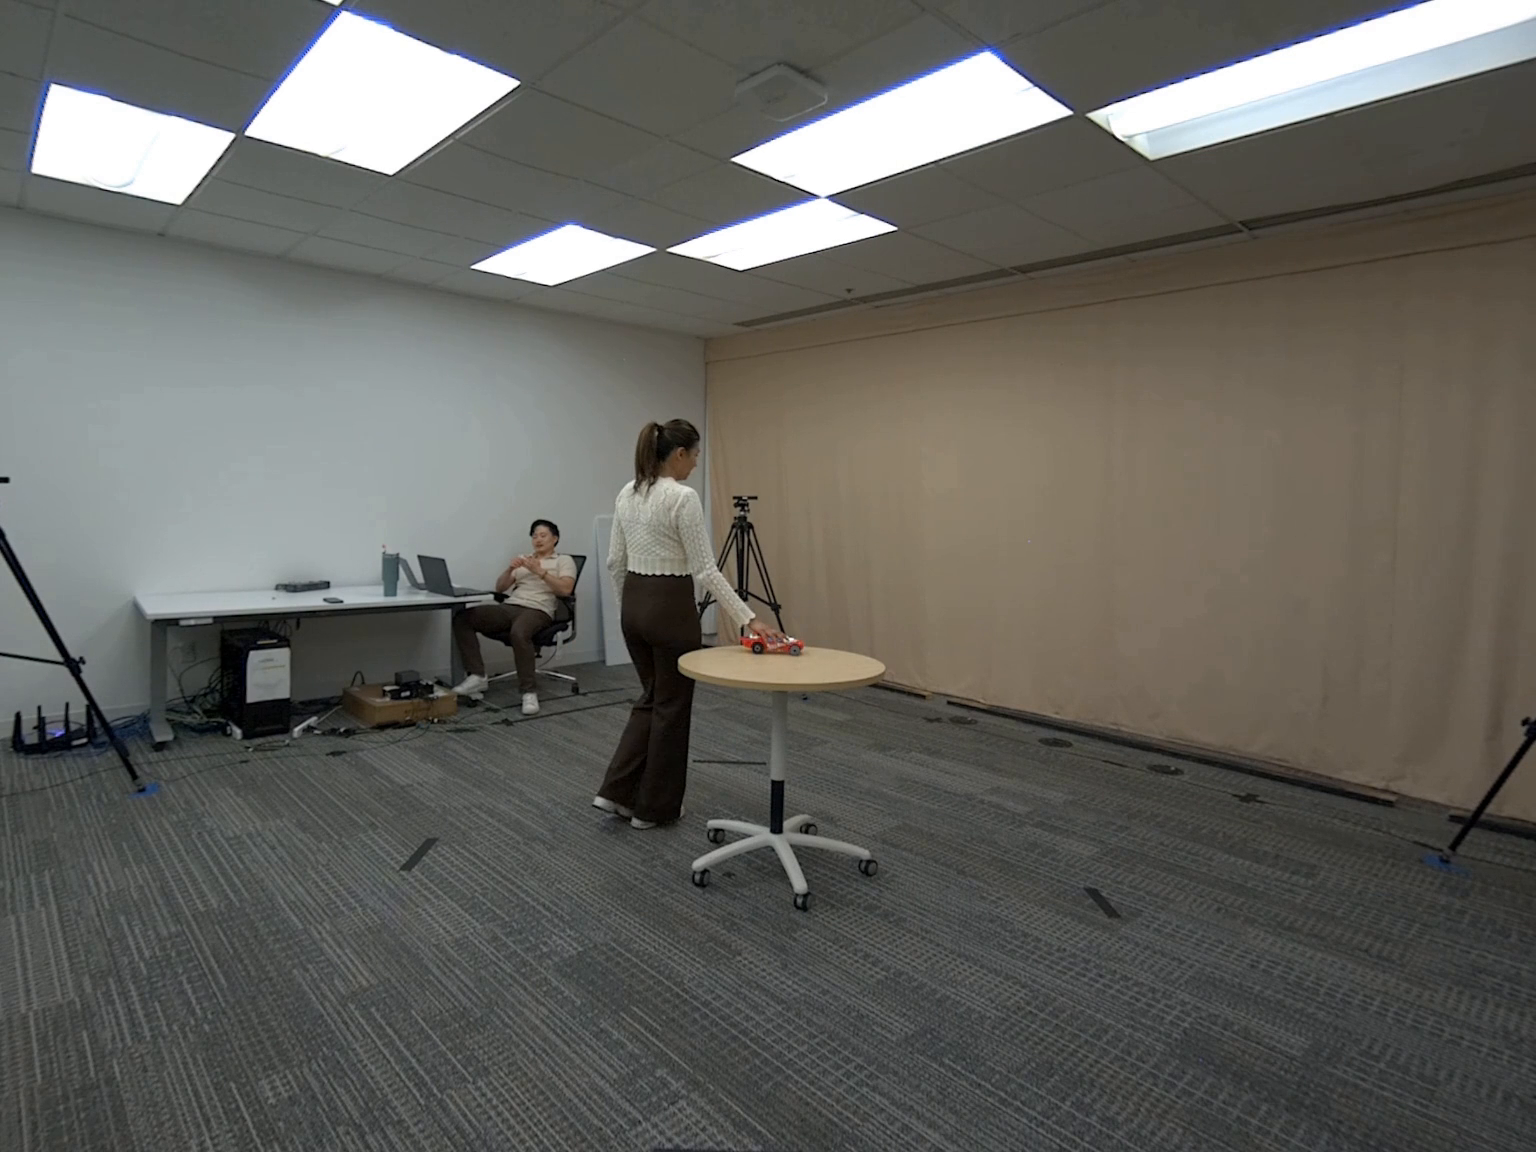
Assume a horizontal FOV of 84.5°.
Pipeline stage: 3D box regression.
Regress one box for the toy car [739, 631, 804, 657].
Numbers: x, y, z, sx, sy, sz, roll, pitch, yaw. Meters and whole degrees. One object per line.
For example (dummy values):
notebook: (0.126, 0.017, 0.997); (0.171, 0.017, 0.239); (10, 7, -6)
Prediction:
toy car: (0.003, 0.269, 3.328); (0.255, 0.083, 0.130); (11, 2, 2)
